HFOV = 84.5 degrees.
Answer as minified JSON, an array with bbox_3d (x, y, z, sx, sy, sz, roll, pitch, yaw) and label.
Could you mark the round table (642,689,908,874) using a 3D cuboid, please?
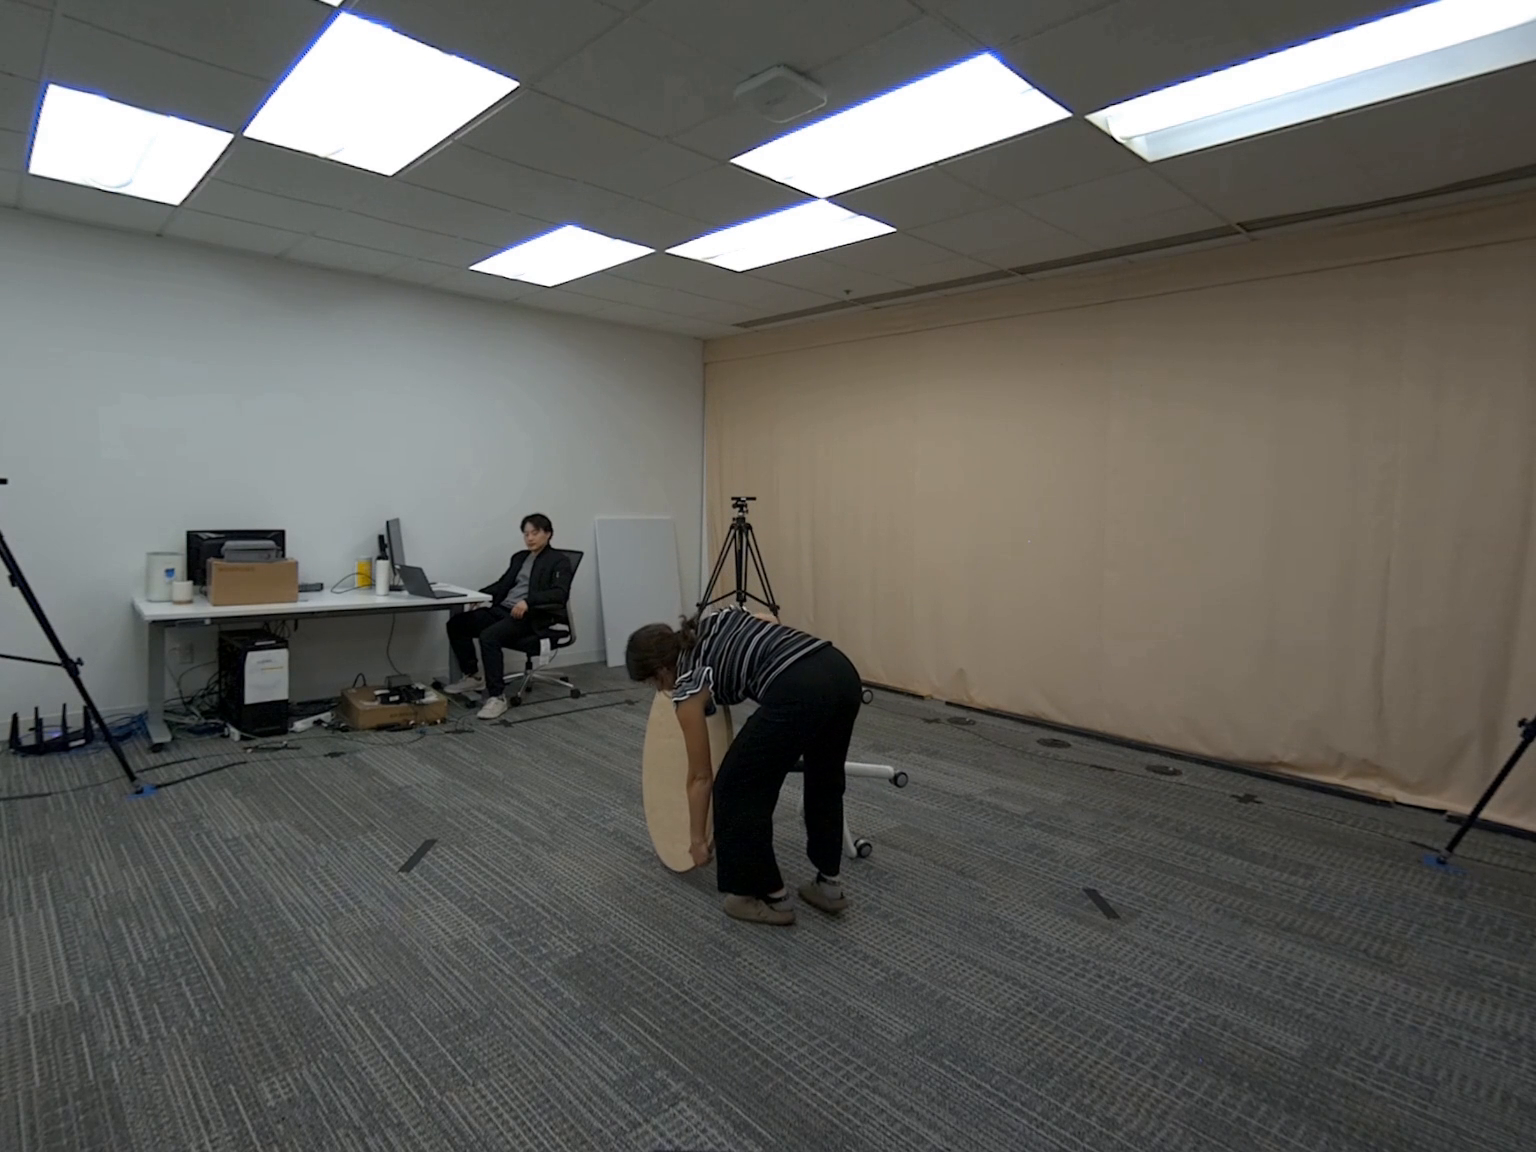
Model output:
[{"bbox_3d":[0.005,0.743,3.313,0.777,0.764,0.780,8,1,-27],"label":"round table"}]
